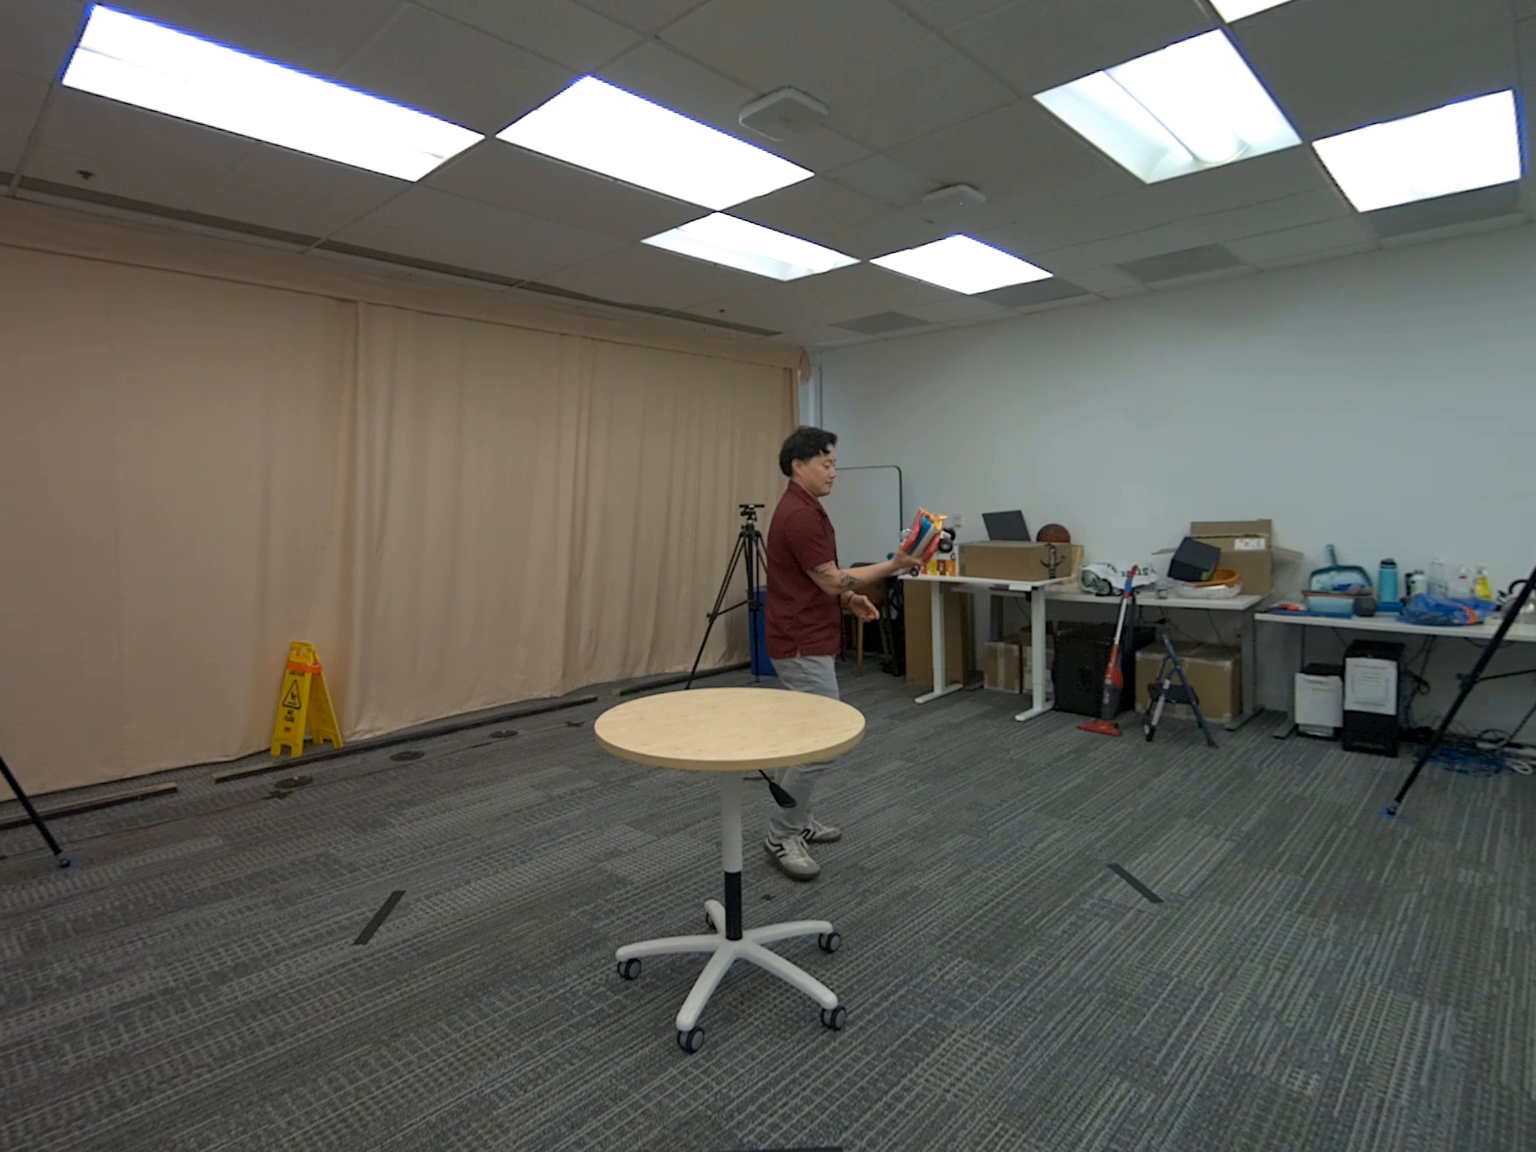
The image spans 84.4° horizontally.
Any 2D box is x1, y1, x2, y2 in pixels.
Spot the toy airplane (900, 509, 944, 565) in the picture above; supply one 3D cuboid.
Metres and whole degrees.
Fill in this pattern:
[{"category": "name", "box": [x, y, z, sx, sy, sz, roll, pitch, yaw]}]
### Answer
[{"category": "toy airplane", "box": [0.561, -0.104, 3.066, 0.155, 0.259, 0.252, 42, 6, -7]}]
